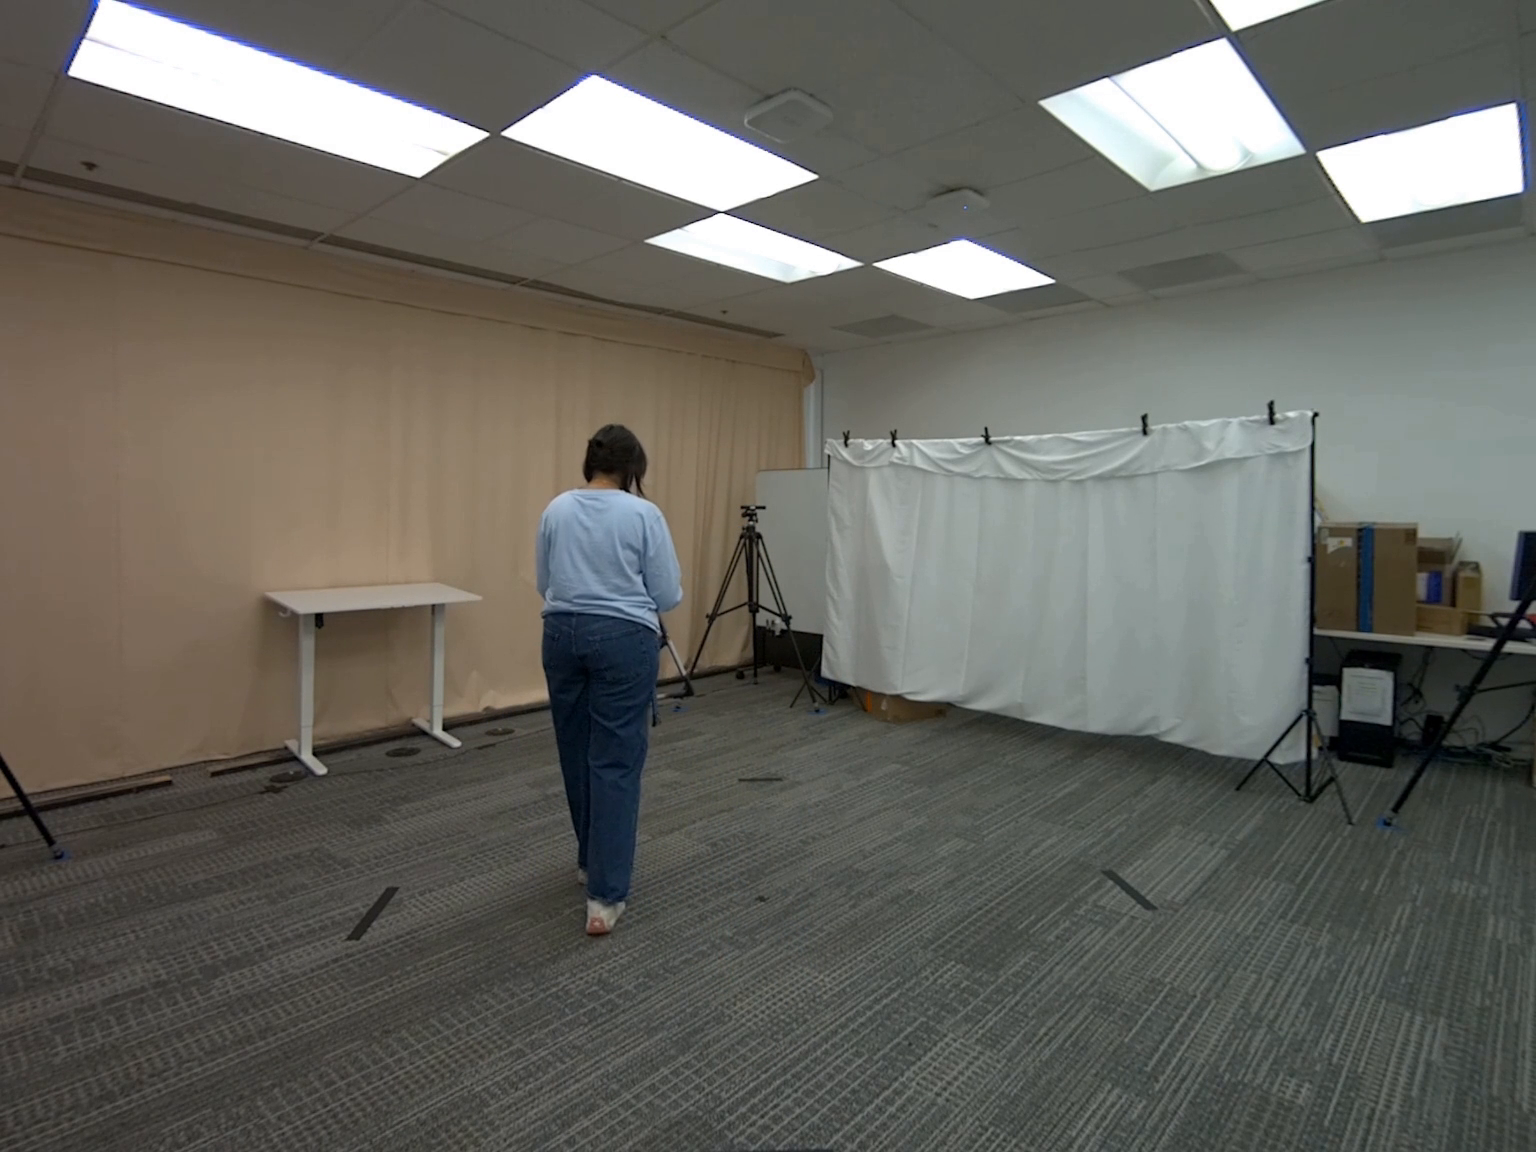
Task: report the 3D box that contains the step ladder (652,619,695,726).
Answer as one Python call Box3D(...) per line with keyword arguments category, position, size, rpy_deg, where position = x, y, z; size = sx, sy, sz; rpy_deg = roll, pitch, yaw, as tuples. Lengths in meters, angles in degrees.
Box3D(category="step ladder", position=(-0.608, 0.255, 3.243), size=(0.438, 0.603, 0.345), rpy_deg=(-14, 6, 21))
